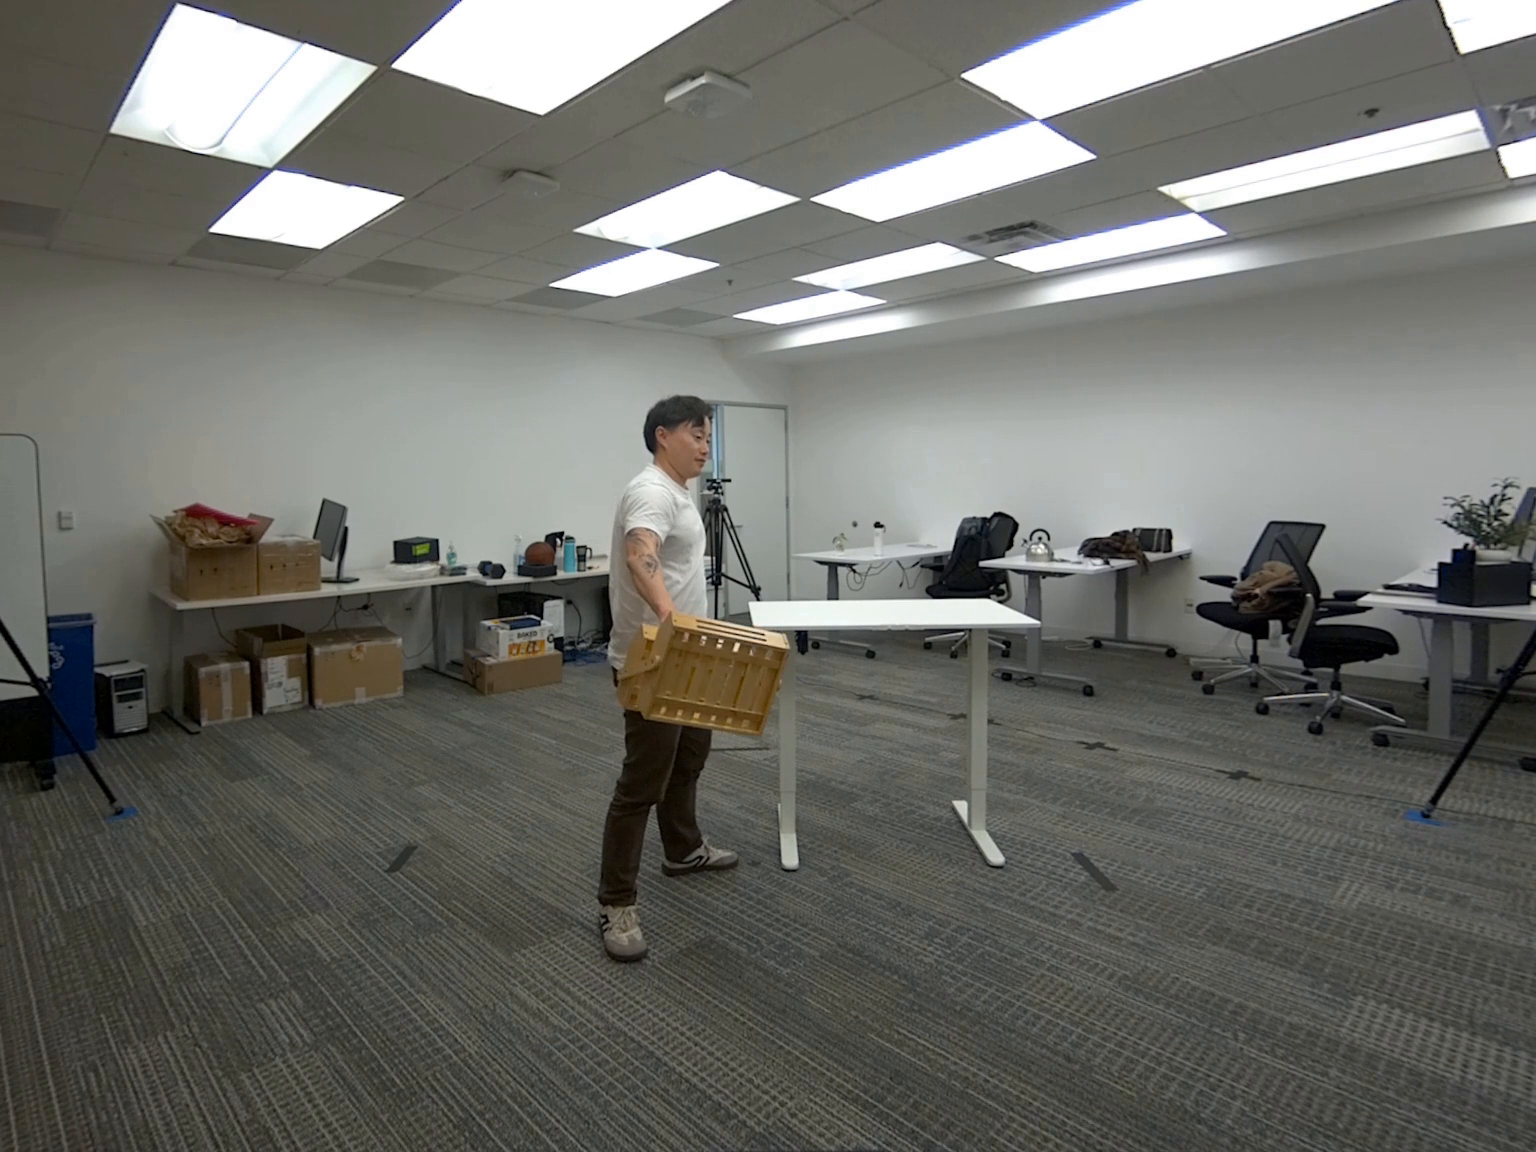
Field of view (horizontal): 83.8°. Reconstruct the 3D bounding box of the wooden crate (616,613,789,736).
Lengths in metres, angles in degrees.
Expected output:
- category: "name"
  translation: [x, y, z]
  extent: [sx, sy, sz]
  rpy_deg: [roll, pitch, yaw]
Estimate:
- category: "wooden crate"
  translation: [-0.164, 0.230, 2.117]
  extent: [0.316, 0.300, 0.282]
  rpy_deg: [12, 9, -25]
